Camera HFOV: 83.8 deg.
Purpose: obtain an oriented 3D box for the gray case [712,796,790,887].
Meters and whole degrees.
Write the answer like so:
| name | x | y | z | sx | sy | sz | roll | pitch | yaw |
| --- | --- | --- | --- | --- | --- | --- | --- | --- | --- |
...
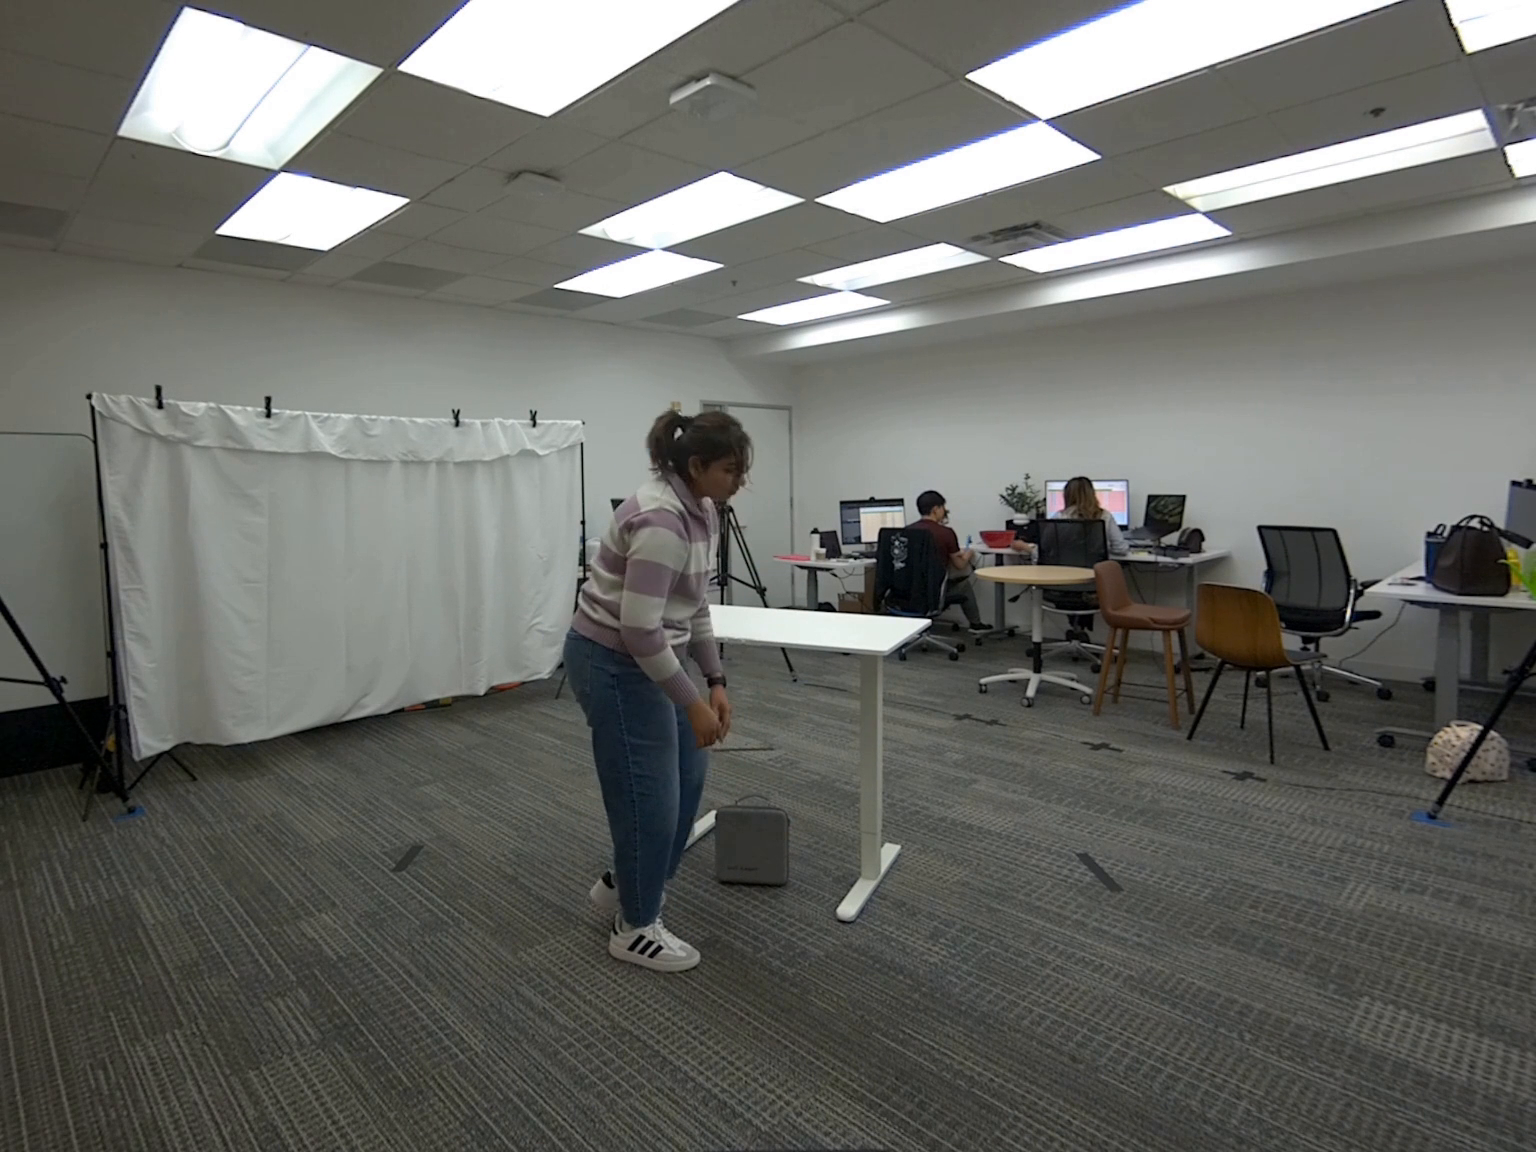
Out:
| name | x | y | z | sx | sy | sz | roll | pitch | yaw |
| --- | --- | --- | --- | --- | --- | --- | --- | --- | --- |
| gray case | -0.061 | 0.928 | 2.990 | 0.259 | 0.261 | 0.103 | 1 | -4 | 8 |
